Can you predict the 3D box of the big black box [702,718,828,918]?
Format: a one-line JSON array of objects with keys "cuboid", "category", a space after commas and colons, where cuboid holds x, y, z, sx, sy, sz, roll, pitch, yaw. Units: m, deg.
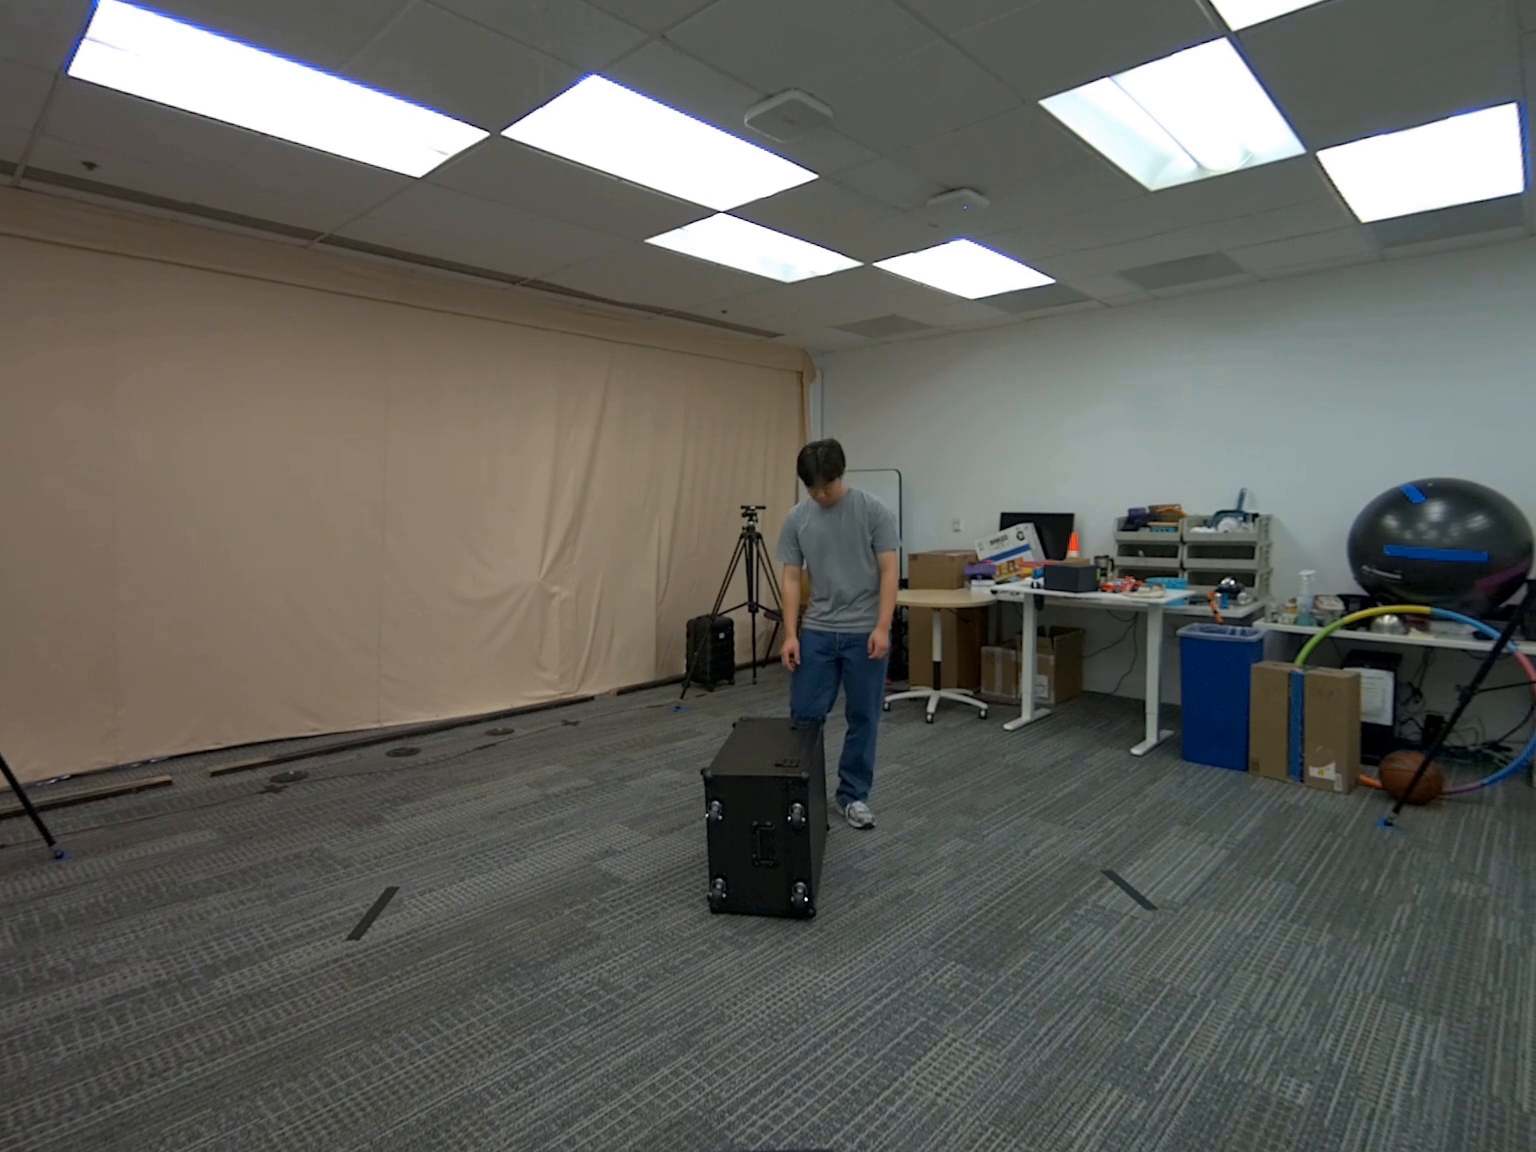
[{"cuboid": [0.012, 0.871, 3.240, 0.401, 0.520, 0.854, -1, 4, 9], "category": "big black box"}]
